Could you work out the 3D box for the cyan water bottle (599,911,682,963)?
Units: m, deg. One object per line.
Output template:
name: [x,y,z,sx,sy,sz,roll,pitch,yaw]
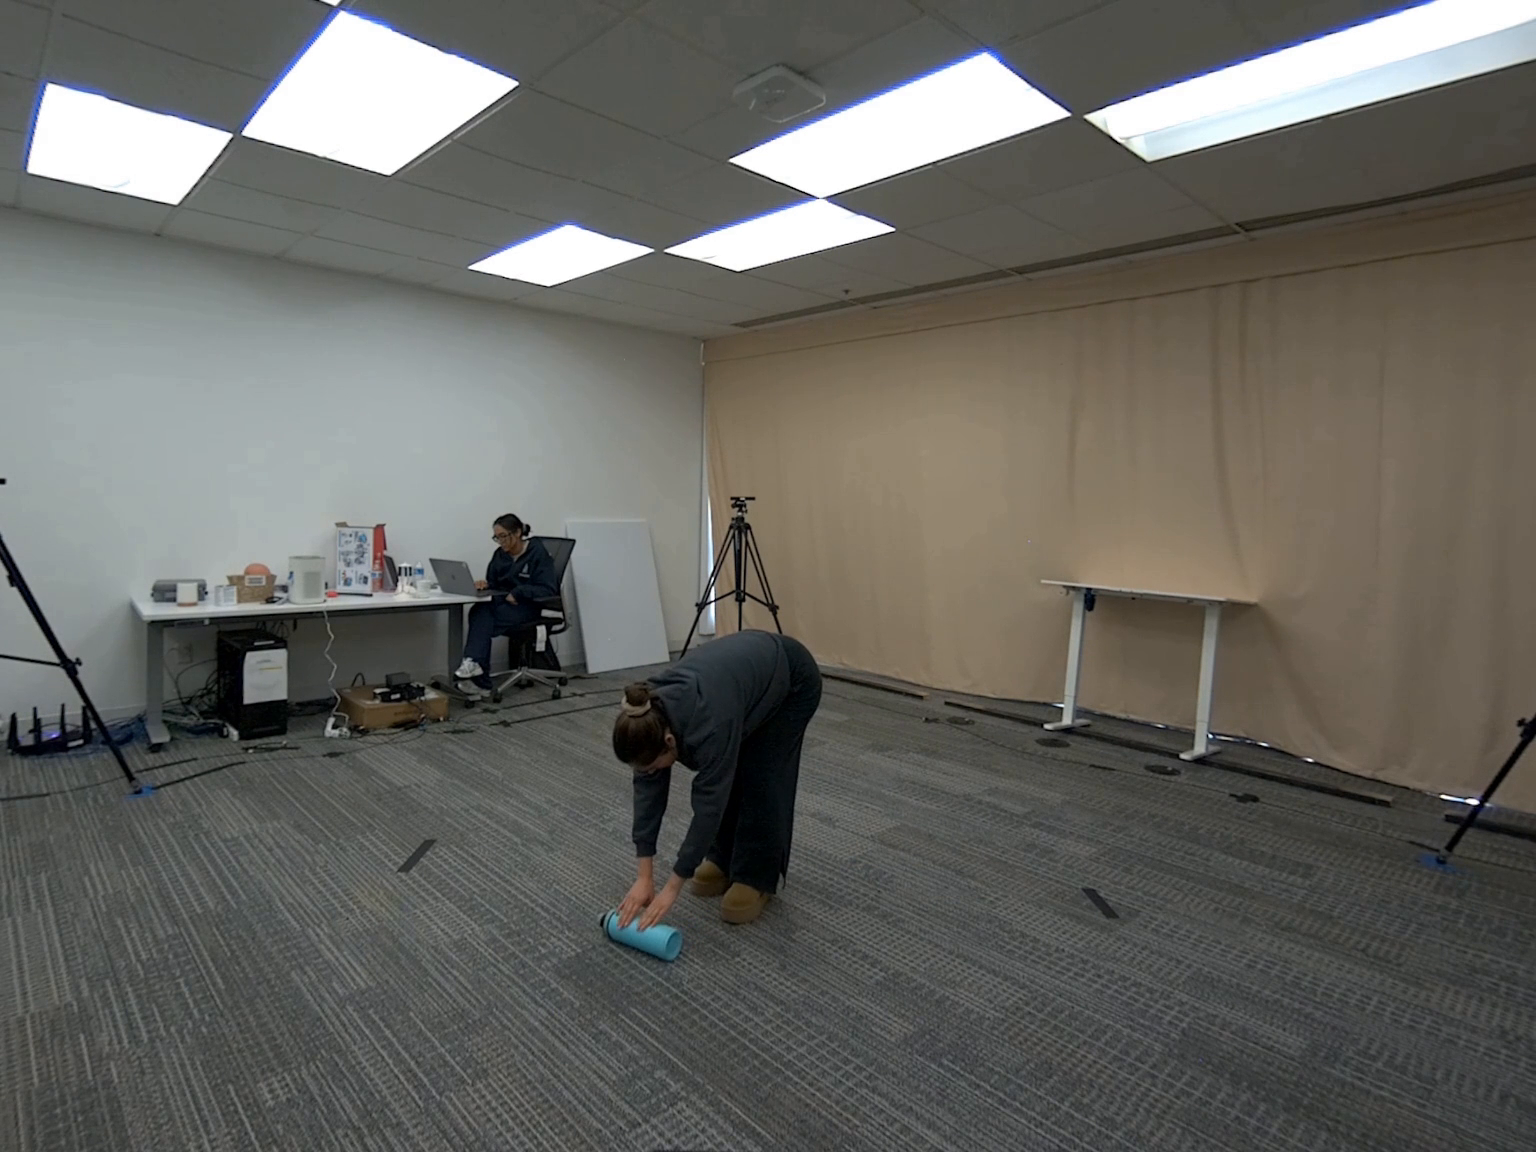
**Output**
cyan water bottle: [-0.401,1.106,2.610,0.290,0.092,0.090,3,5,33]
